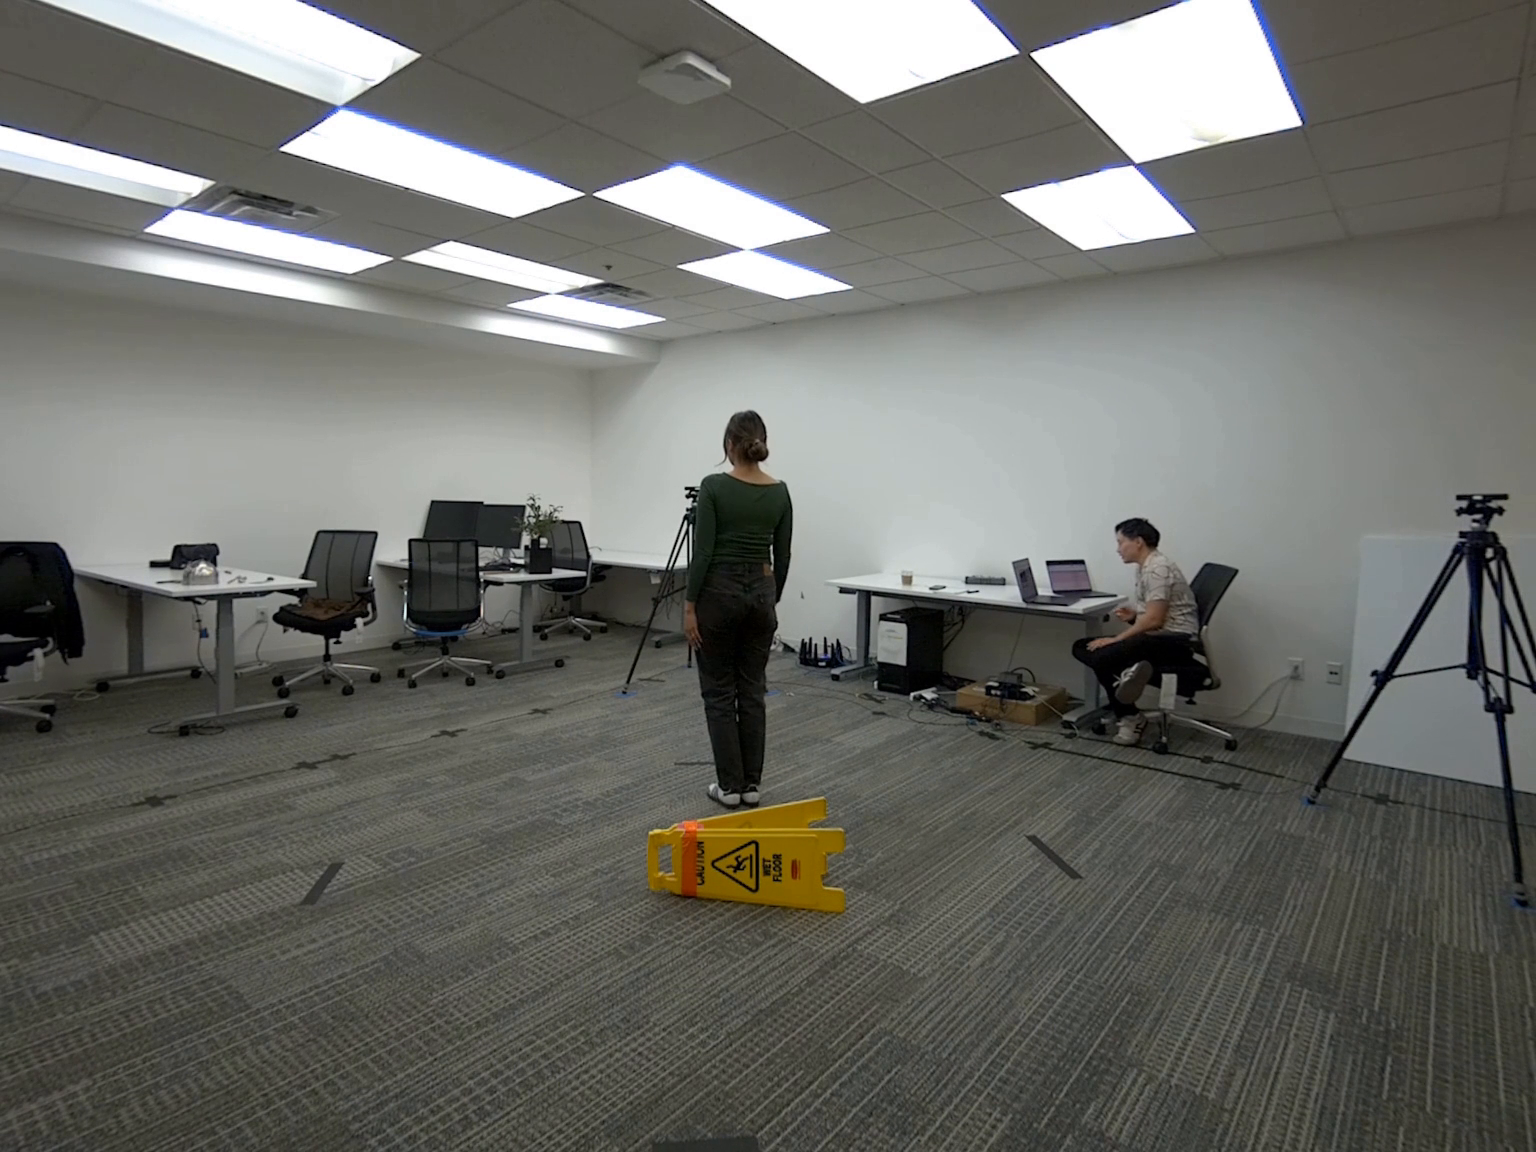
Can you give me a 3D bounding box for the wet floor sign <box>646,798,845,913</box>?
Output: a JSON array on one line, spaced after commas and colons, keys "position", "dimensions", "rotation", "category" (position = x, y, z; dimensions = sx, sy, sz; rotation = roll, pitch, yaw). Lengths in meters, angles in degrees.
[{"position": [-0.102, 0.954, 2.909], "dimensions": [0.643, 0.281, 0.293], "rotation": [-2, 6, -5], "category": "wet floor sign"}]
